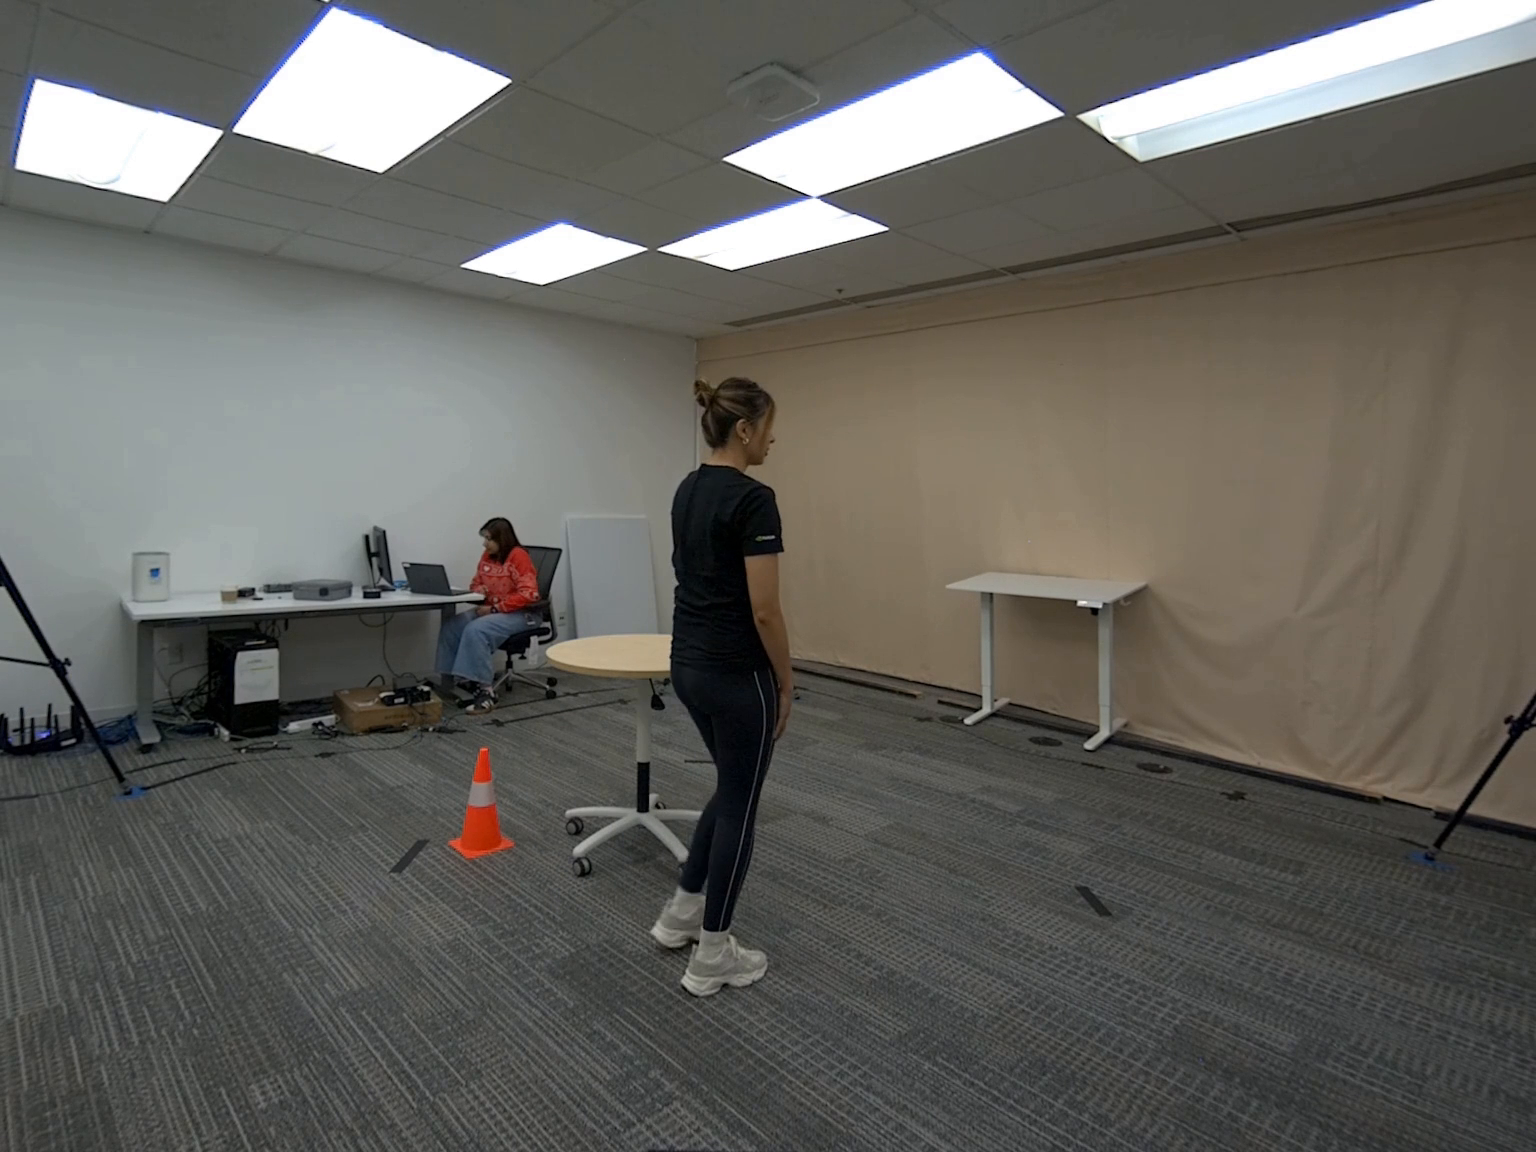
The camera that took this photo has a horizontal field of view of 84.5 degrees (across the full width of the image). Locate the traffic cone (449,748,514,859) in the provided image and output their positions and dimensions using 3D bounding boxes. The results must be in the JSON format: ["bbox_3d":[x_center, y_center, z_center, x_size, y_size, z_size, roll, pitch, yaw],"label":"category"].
[{"bbox_3d":[-1.145,0.879,3.318,0.200,0.383,0.208,-1,3,-34],"label":"traffic cone"}]
